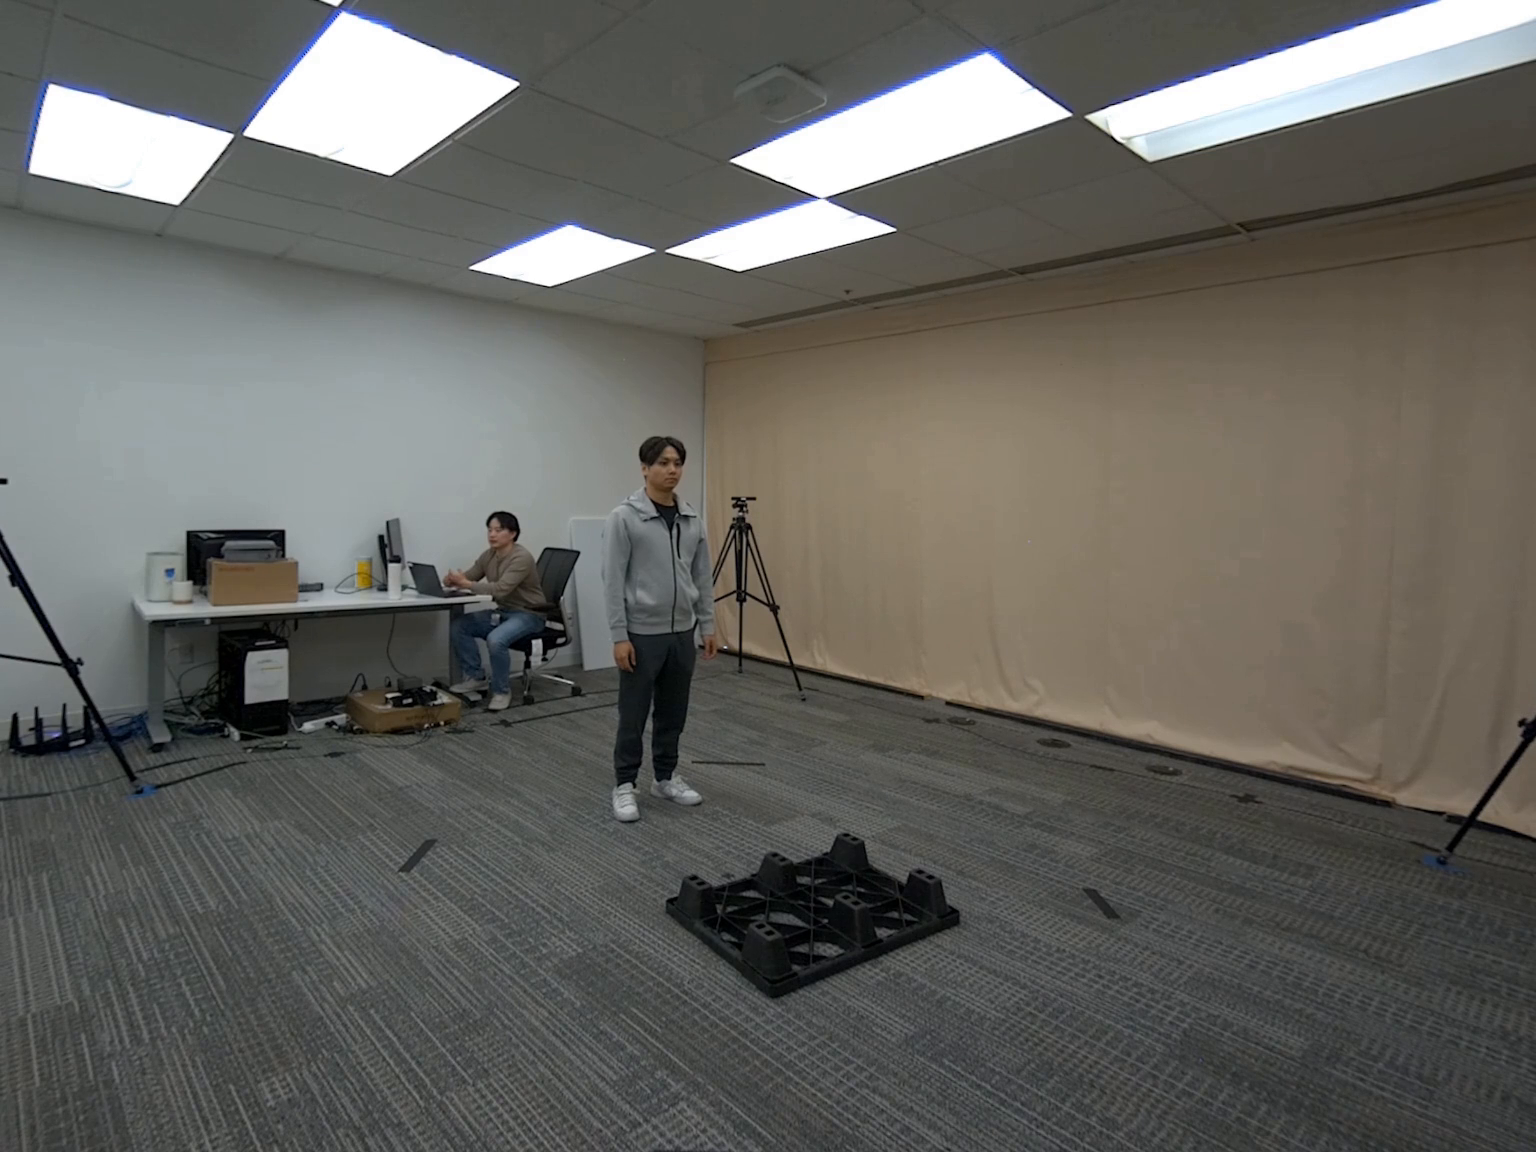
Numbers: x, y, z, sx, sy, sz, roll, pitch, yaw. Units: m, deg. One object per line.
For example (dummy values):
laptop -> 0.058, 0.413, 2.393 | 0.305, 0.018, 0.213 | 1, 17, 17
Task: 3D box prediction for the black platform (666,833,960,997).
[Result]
black platform -> 0.142, 1.076, 2.800 | 0.788, 0.143, 0.620 | -3, 7, -37
